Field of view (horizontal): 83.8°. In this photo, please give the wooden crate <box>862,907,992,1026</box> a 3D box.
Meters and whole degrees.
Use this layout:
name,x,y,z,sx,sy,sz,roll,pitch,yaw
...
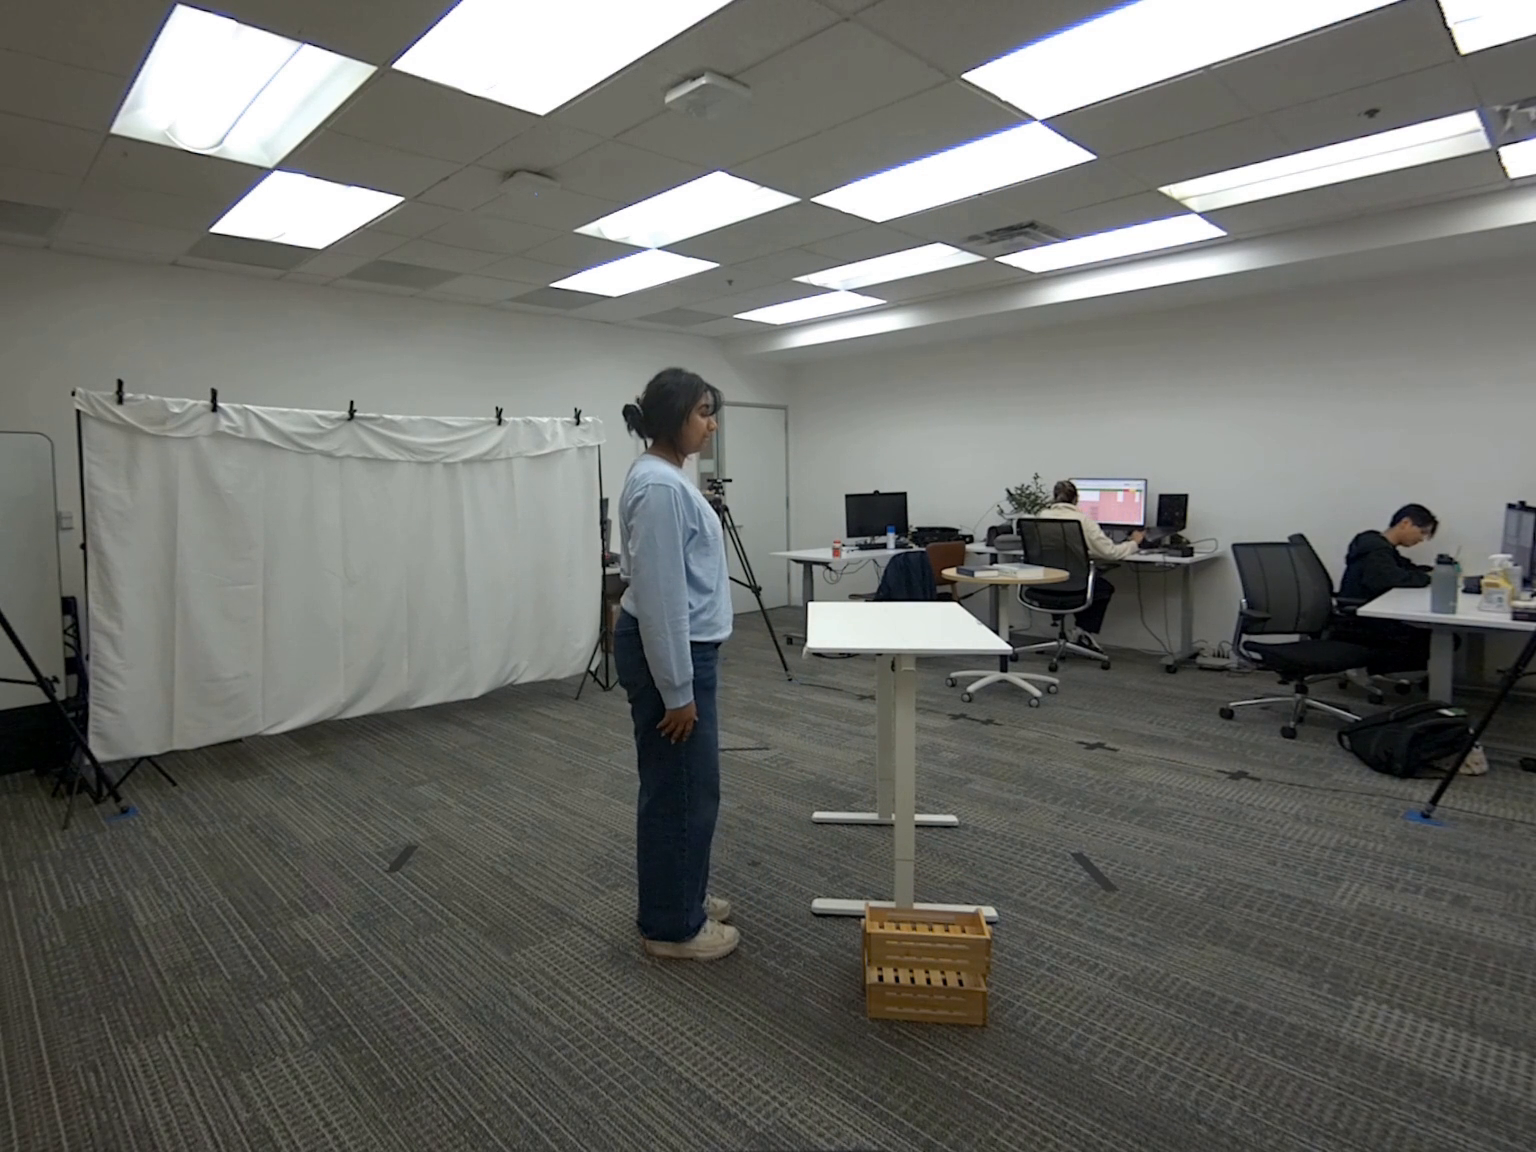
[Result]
name,x,y,z,sx,sy,sz,roll,pitch,yaw
wooden crate,0.420,0.997,2.279,0.326,0.272,0.302,-1,7,6
